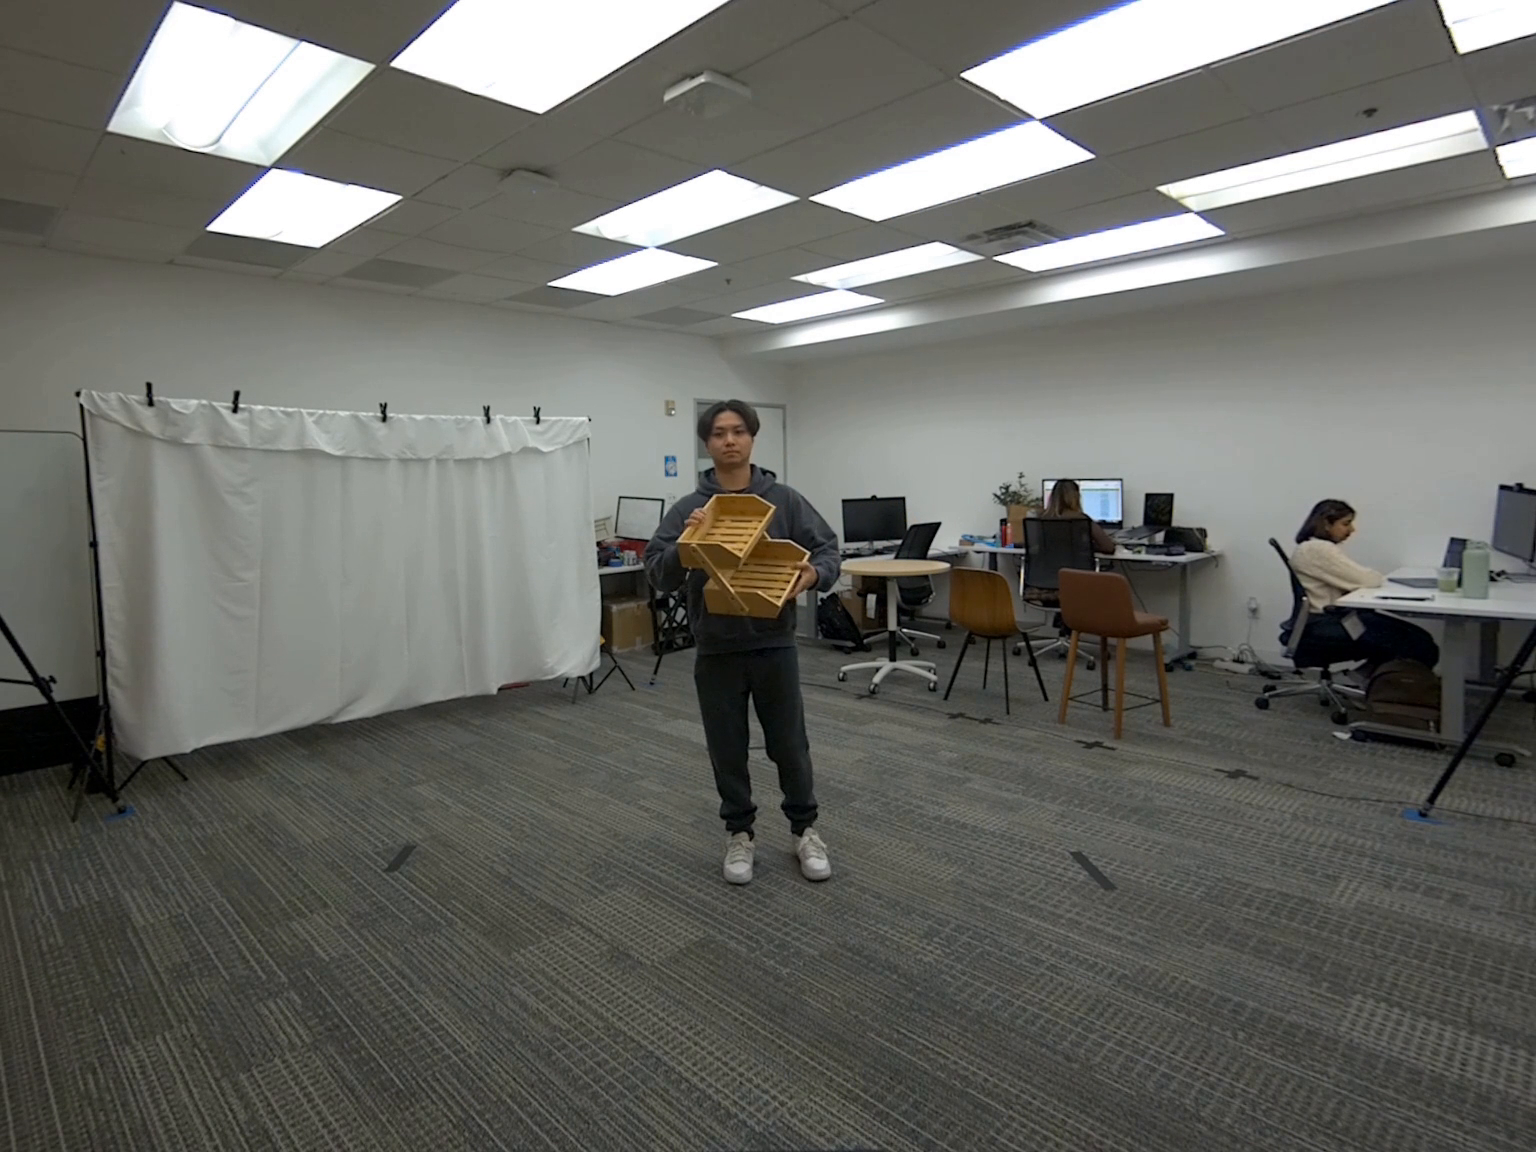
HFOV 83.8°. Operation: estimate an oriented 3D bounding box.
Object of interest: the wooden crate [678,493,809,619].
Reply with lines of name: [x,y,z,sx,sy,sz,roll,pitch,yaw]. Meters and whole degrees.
wooden crate: [-0.063,-0.074,2.696,0.309,0.266,0.326,1,32,23]
